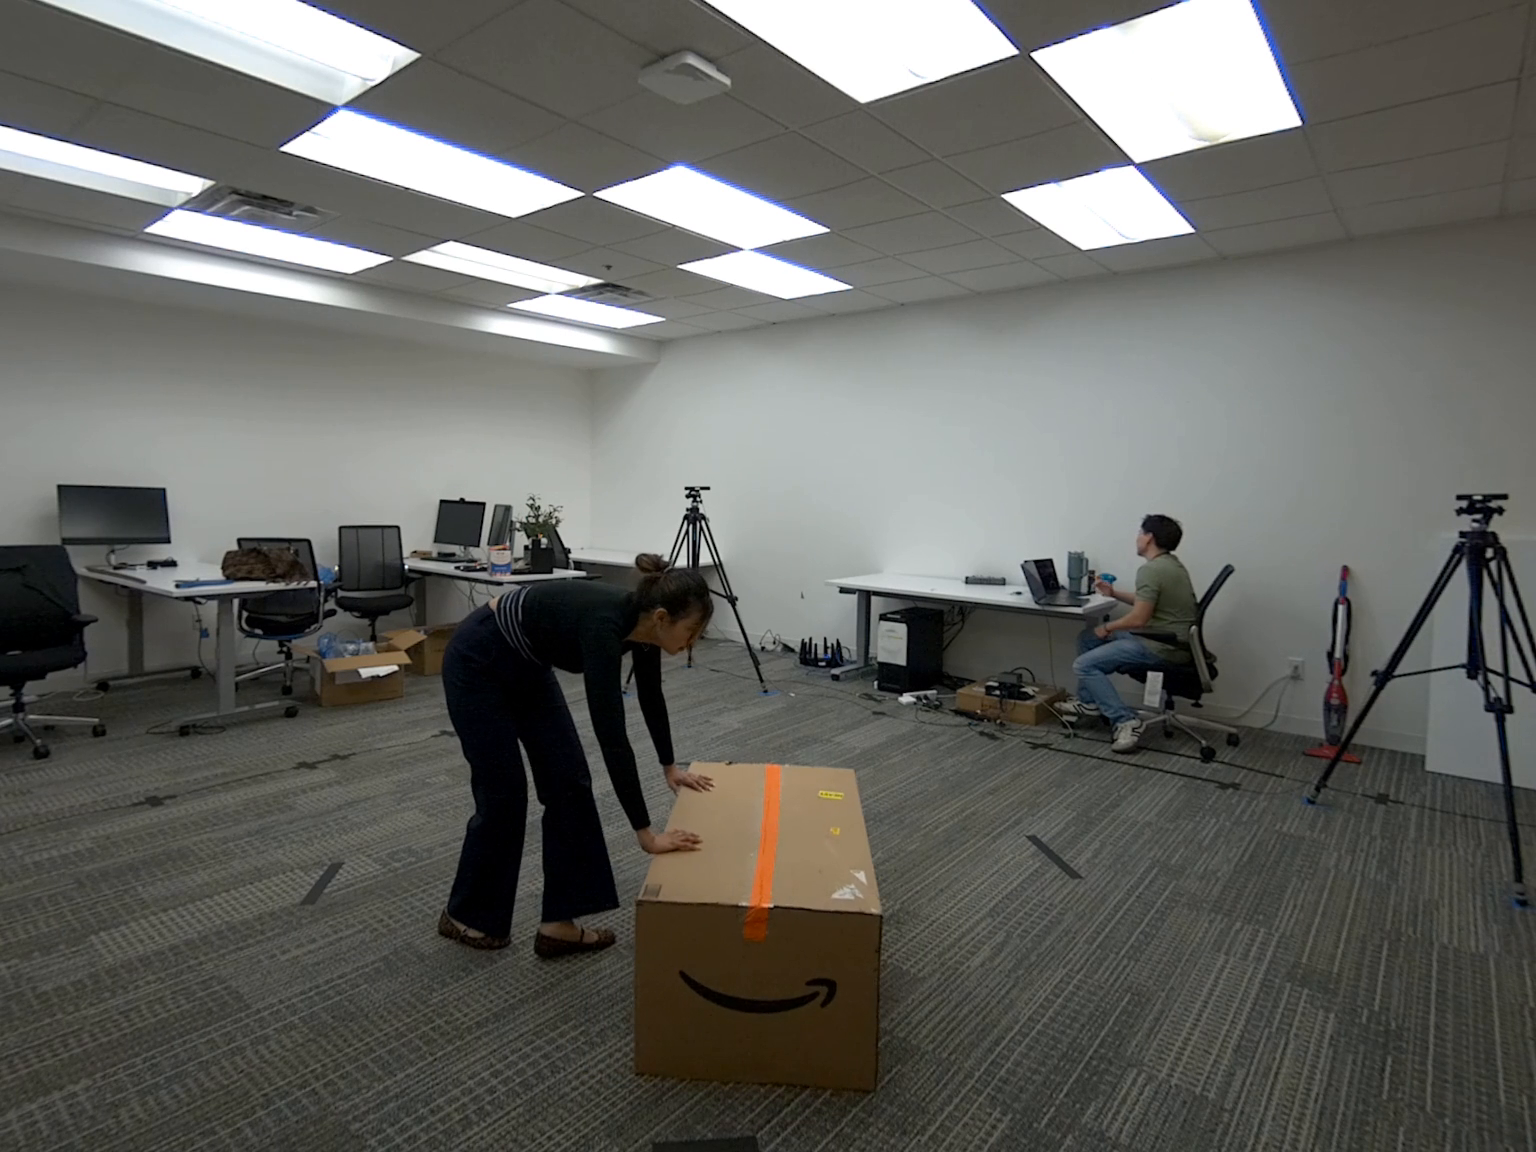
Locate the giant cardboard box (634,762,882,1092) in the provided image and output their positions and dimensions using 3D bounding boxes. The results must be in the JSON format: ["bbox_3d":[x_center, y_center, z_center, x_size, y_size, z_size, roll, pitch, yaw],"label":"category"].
[{"bbox_3d":[-0.011,0.918,2.481,0.580,0.424,1.026,0,5,2],"label":"giant cardboard box"}]
